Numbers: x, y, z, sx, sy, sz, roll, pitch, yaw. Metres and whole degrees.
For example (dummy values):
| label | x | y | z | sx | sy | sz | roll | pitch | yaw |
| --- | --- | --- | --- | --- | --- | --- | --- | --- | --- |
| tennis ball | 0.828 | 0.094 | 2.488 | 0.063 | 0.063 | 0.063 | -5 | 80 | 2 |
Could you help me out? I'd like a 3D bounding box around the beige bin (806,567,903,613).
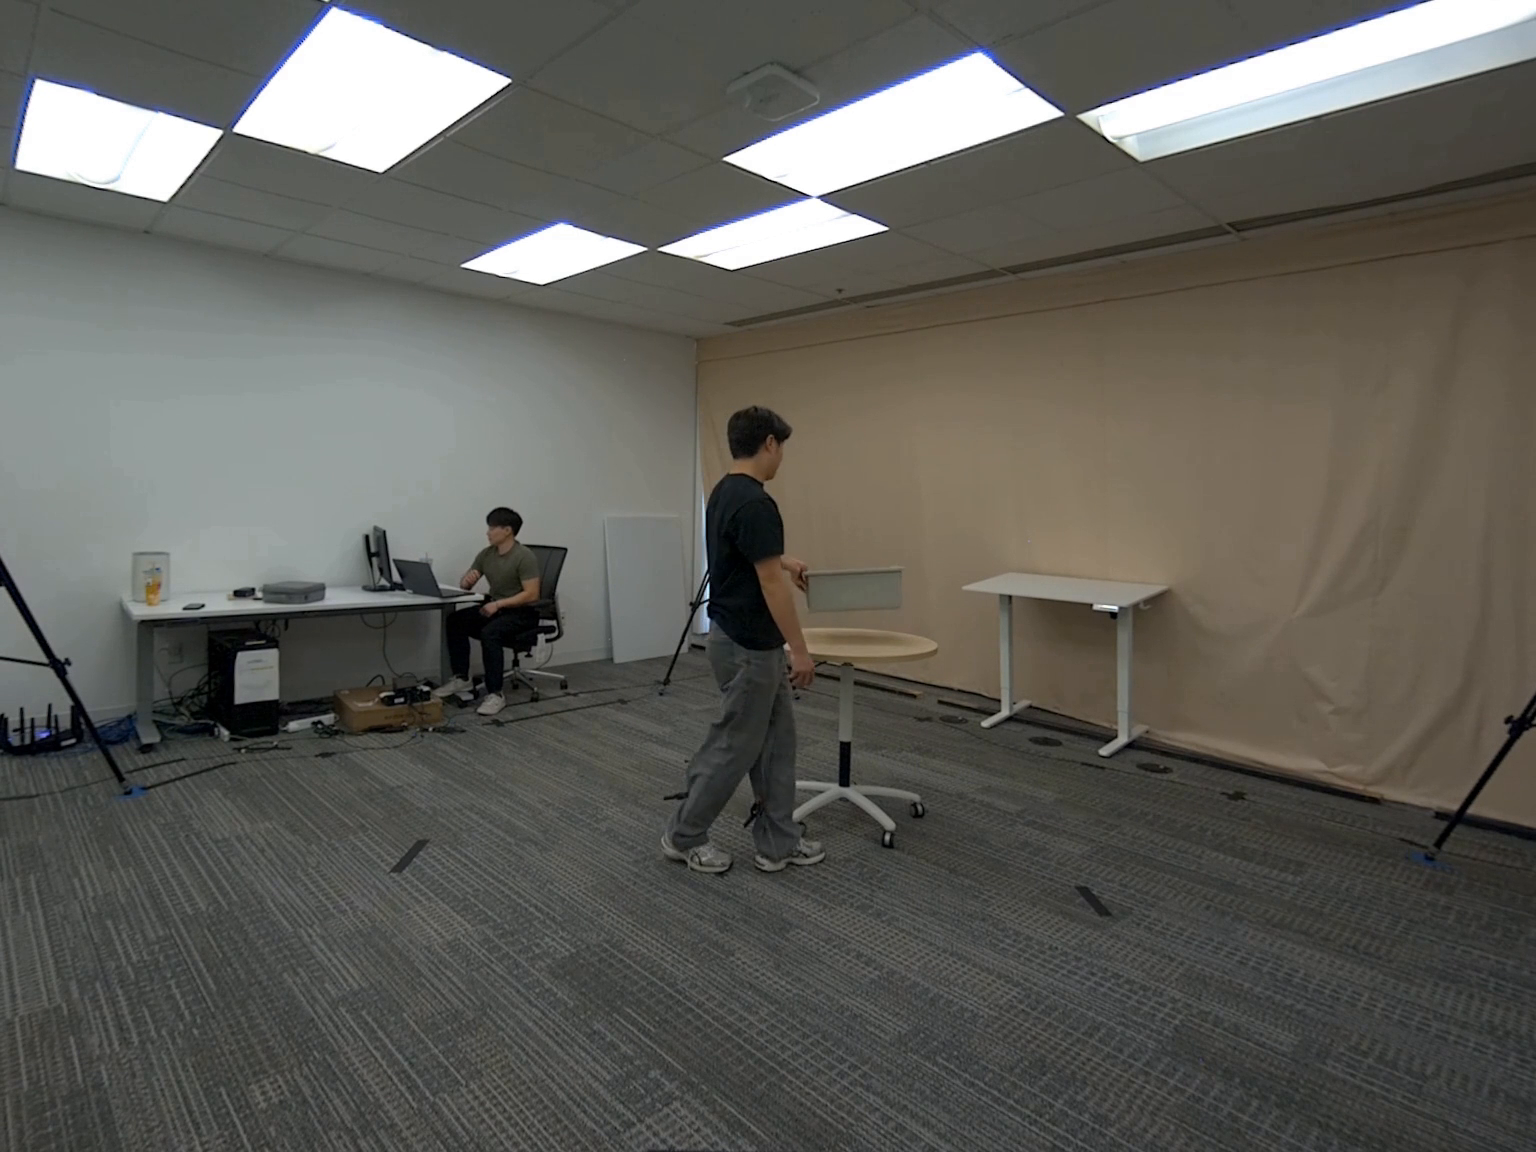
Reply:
| label | x | y | z | sx | sy | sz | roll | pitch | yaw |
| --- | --- | --- | --- | --- | --- | --- | --- | --- | --- |
| beige bin | 0.366 | 0.055 | 3.724 | 0.423 | 0.188 | 0.378 | -1 | 4 | 1 |
